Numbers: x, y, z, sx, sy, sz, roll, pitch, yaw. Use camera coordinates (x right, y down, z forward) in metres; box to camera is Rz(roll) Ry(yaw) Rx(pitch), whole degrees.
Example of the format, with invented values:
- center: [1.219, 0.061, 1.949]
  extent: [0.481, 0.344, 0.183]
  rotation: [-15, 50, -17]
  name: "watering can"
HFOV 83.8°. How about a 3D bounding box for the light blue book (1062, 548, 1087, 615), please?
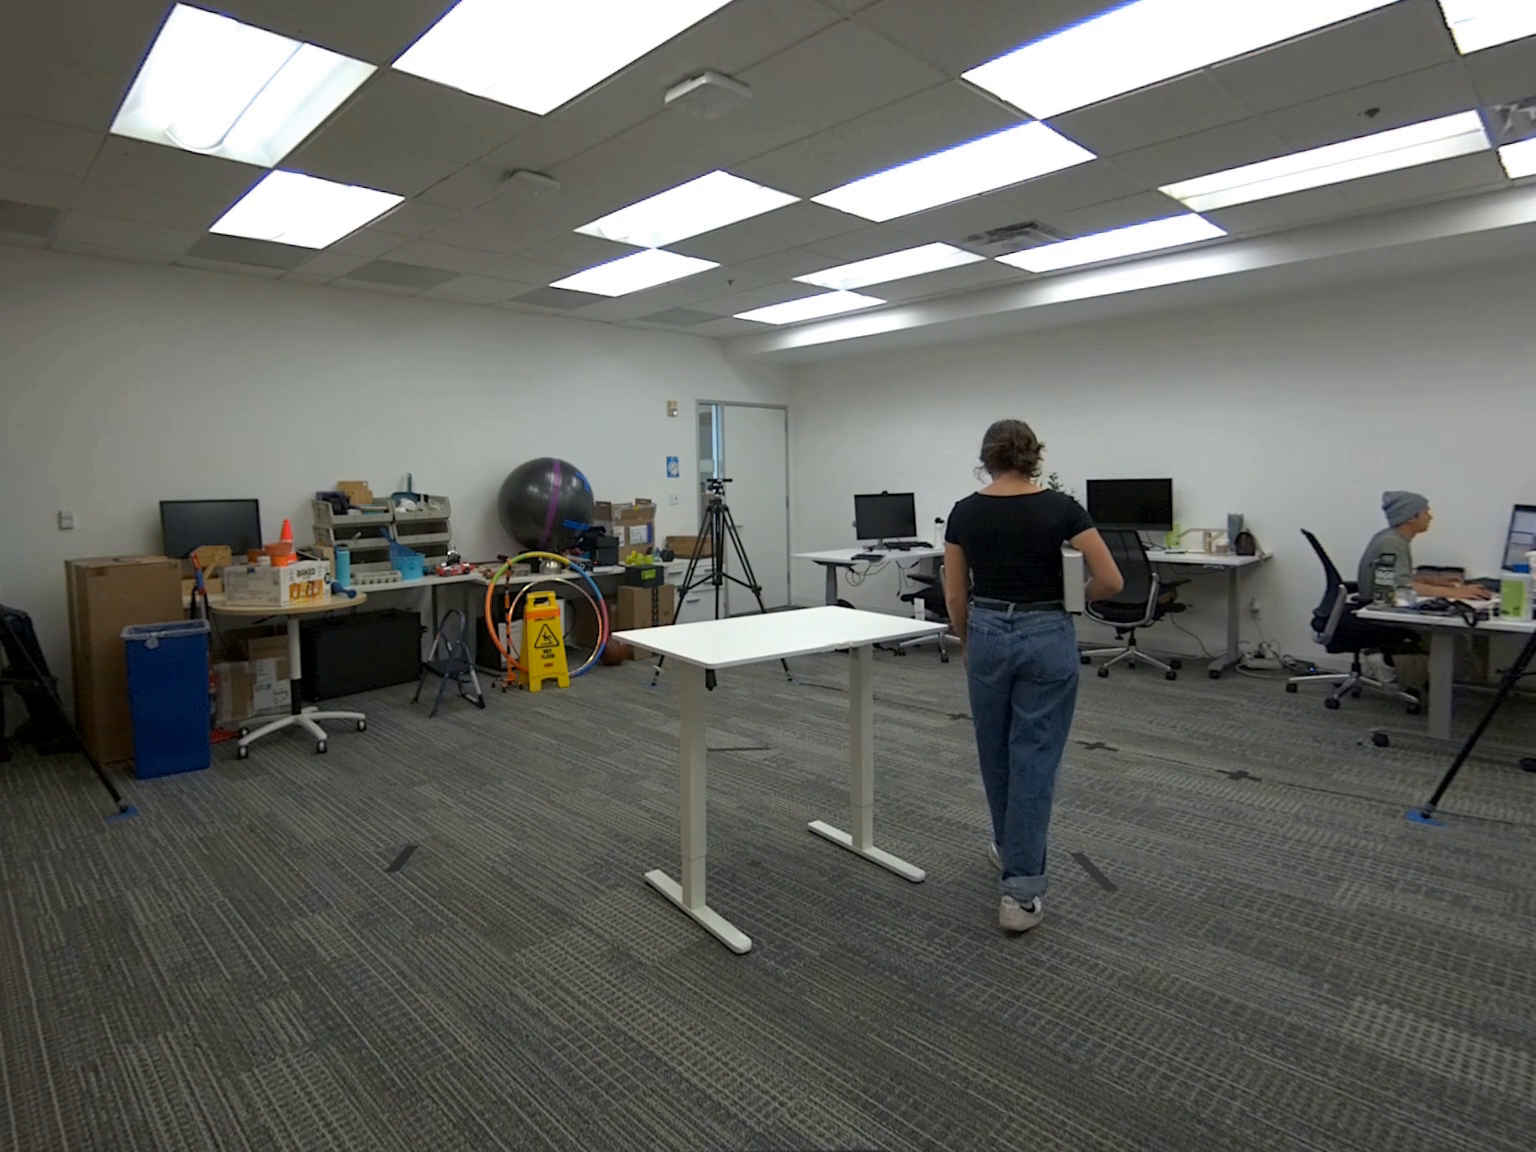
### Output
- center: [0.956, -0.022, 2.721]
  extent: [0.060, 0.188, 0.262]
  rotation: [-3, 20, 13]
  name: "light blue book"
